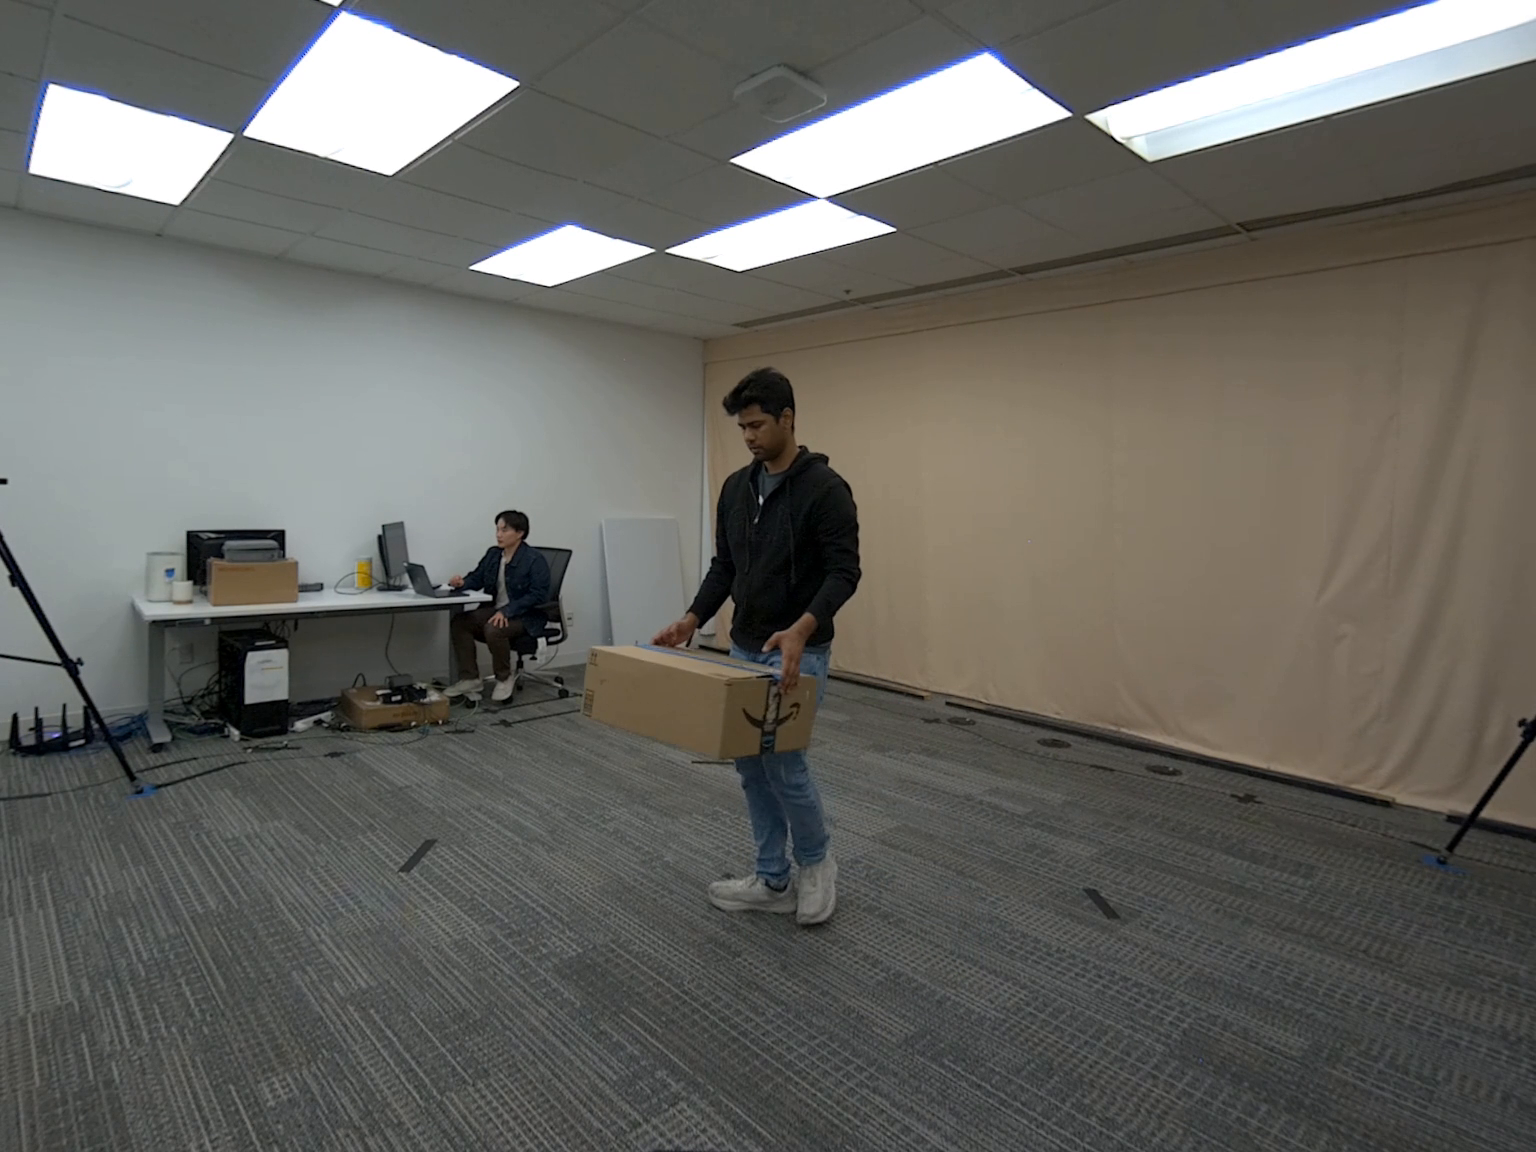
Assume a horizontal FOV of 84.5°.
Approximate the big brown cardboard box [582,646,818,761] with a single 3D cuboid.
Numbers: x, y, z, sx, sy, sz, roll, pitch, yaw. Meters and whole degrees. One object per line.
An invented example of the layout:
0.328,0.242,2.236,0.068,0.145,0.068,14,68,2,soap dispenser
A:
-0.212,0.365,2.530,0.604,0.233,0.407,6,-1,39,big brown cardboard box
